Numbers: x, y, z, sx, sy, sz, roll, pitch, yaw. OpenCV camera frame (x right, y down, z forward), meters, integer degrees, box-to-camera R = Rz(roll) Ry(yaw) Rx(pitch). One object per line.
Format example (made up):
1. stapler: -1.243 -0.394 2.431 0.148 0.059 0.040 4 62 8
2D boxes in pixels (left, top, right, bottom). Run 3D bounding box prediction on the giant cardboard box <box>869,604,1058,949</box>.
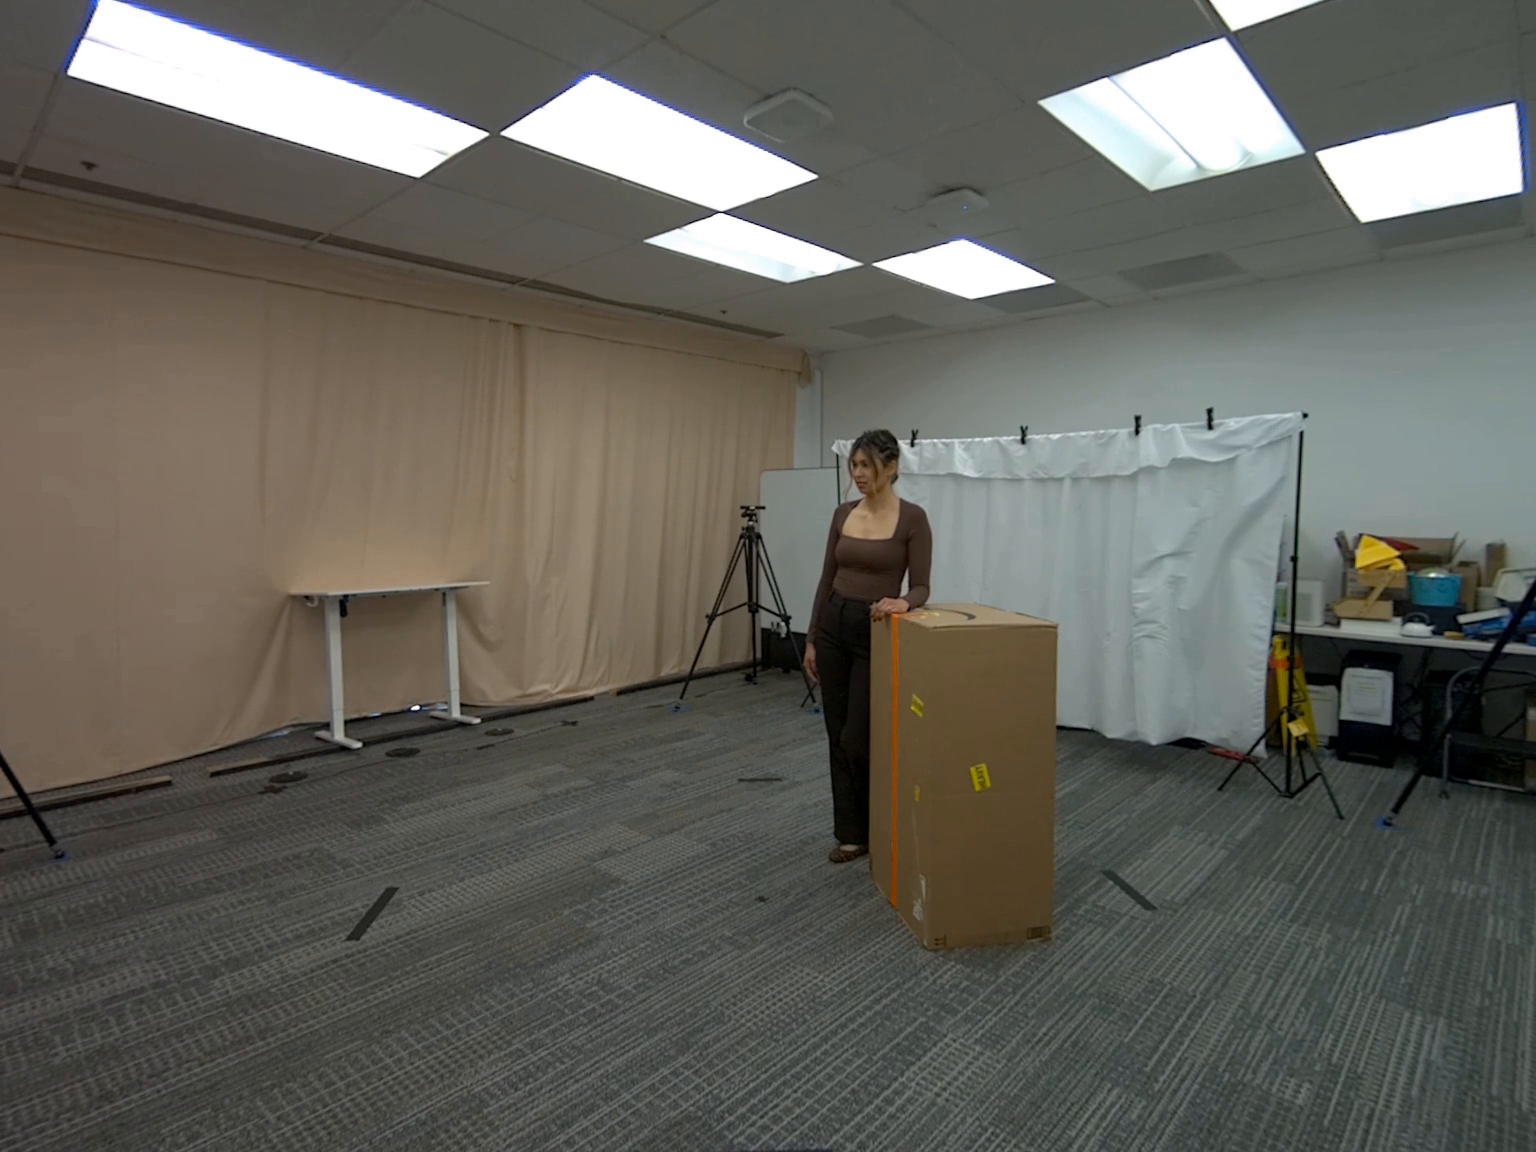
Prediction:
1. giant cardboard box: 0.652 0.640 2.911 0.442 1.025 0.592 0 3 -11
